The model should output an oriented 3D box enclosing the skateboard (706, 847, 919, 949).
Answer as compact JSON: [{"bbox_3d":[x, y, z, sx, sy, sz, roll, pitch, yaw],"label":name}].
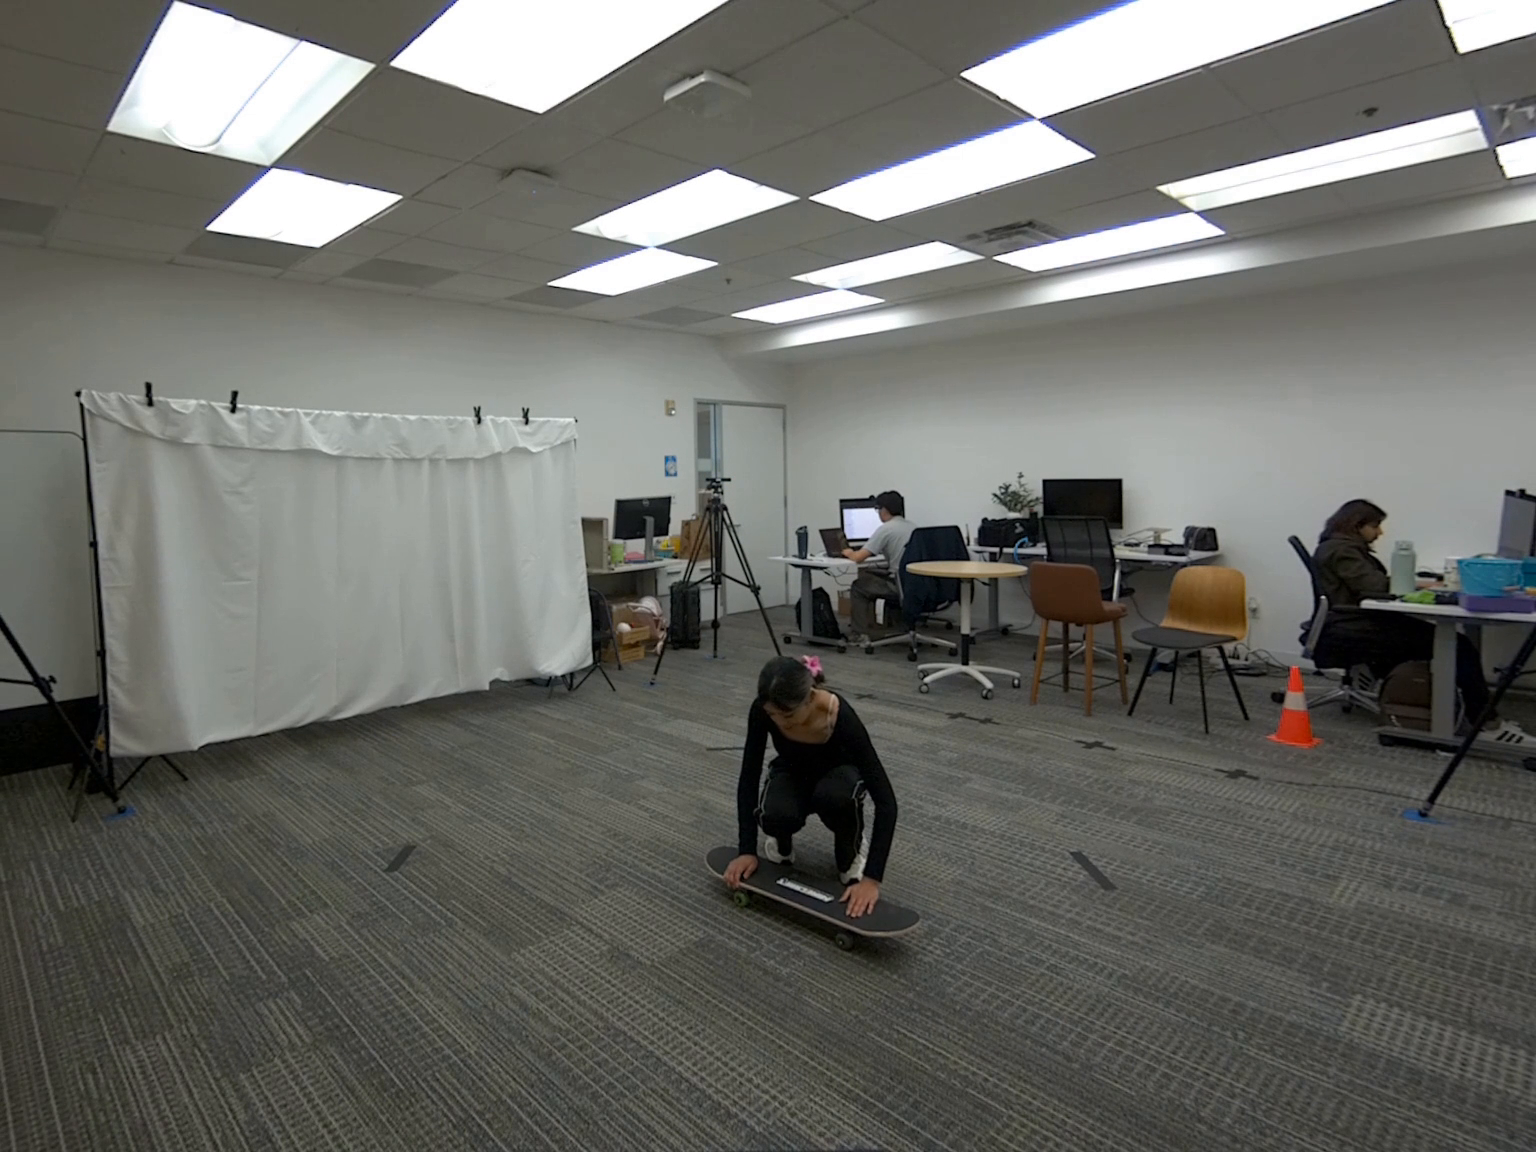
[{"bbox_3d":[0.108,1.028,2.719,0.809,0.110,0.188,5,8,40],"label":"skateboard"}]
